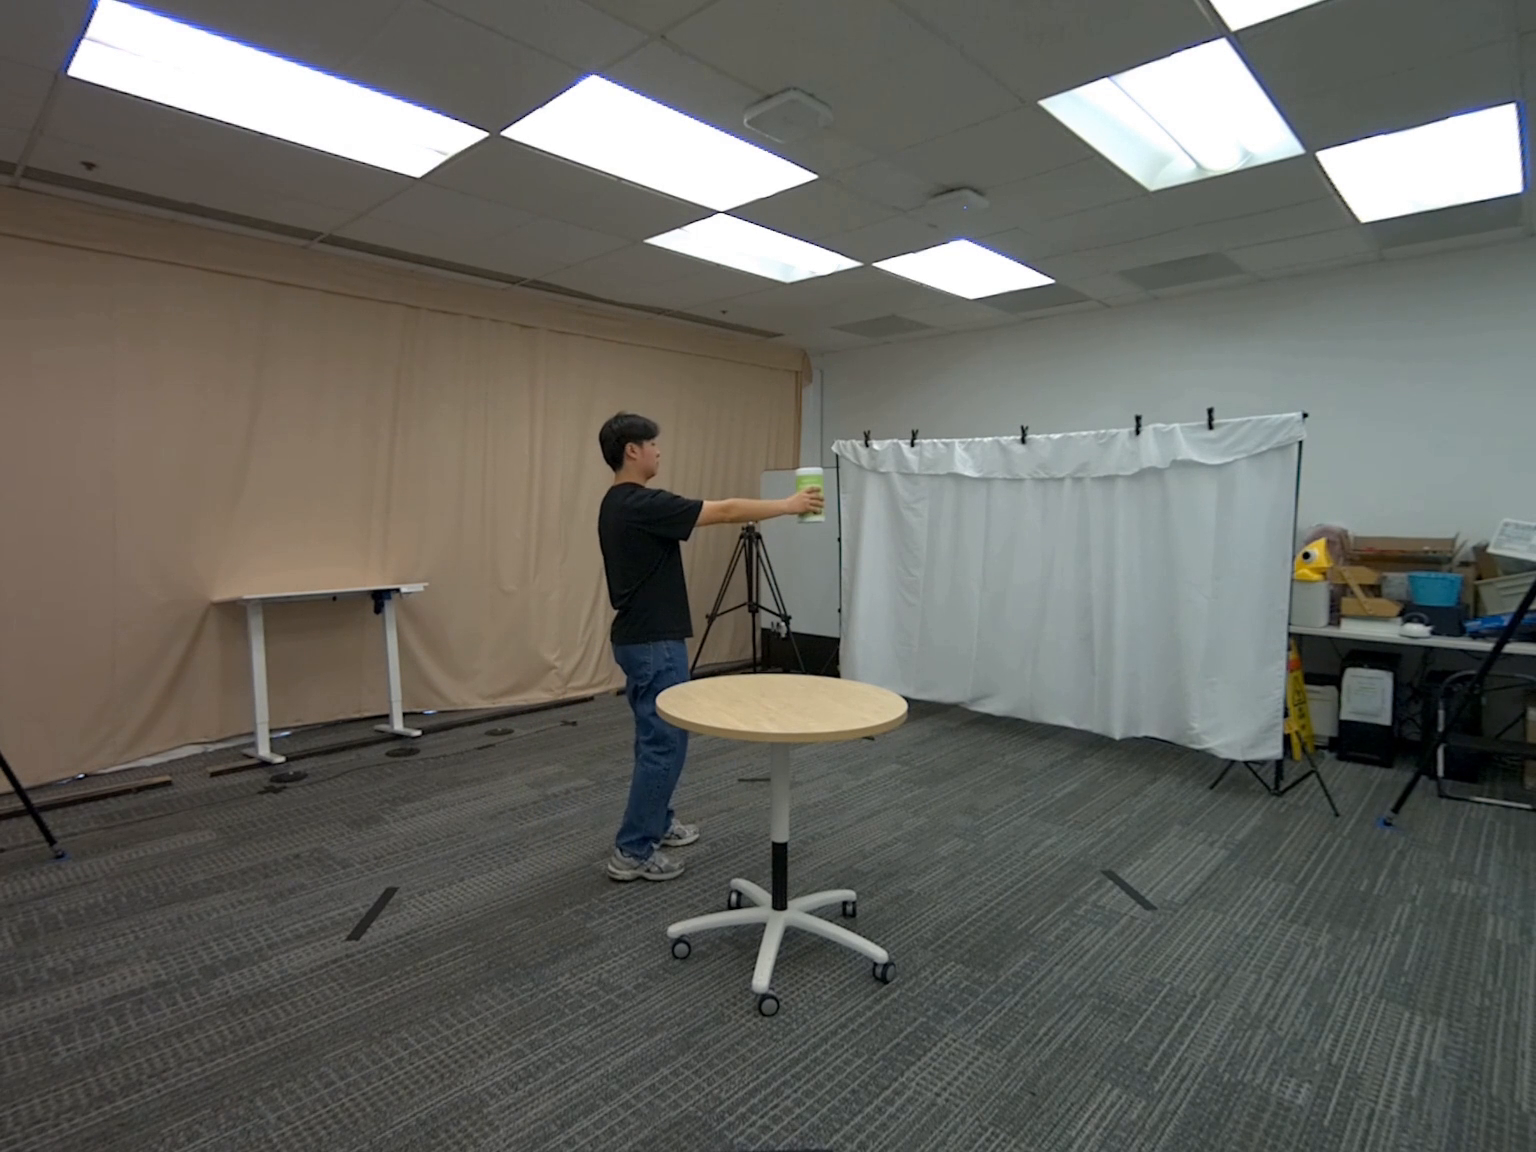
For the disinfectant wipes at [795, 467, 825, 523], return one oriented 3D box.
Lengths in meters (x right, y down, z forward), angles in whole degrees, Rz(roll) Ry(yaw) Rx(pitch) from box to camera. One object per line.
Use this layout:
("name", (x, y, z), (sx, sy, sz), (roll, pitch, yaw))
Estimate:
("disinfectant wipes", (0.172, -0.321, 3.344), (0.118, 0.217, 0.118), (-1, 1, -2))
